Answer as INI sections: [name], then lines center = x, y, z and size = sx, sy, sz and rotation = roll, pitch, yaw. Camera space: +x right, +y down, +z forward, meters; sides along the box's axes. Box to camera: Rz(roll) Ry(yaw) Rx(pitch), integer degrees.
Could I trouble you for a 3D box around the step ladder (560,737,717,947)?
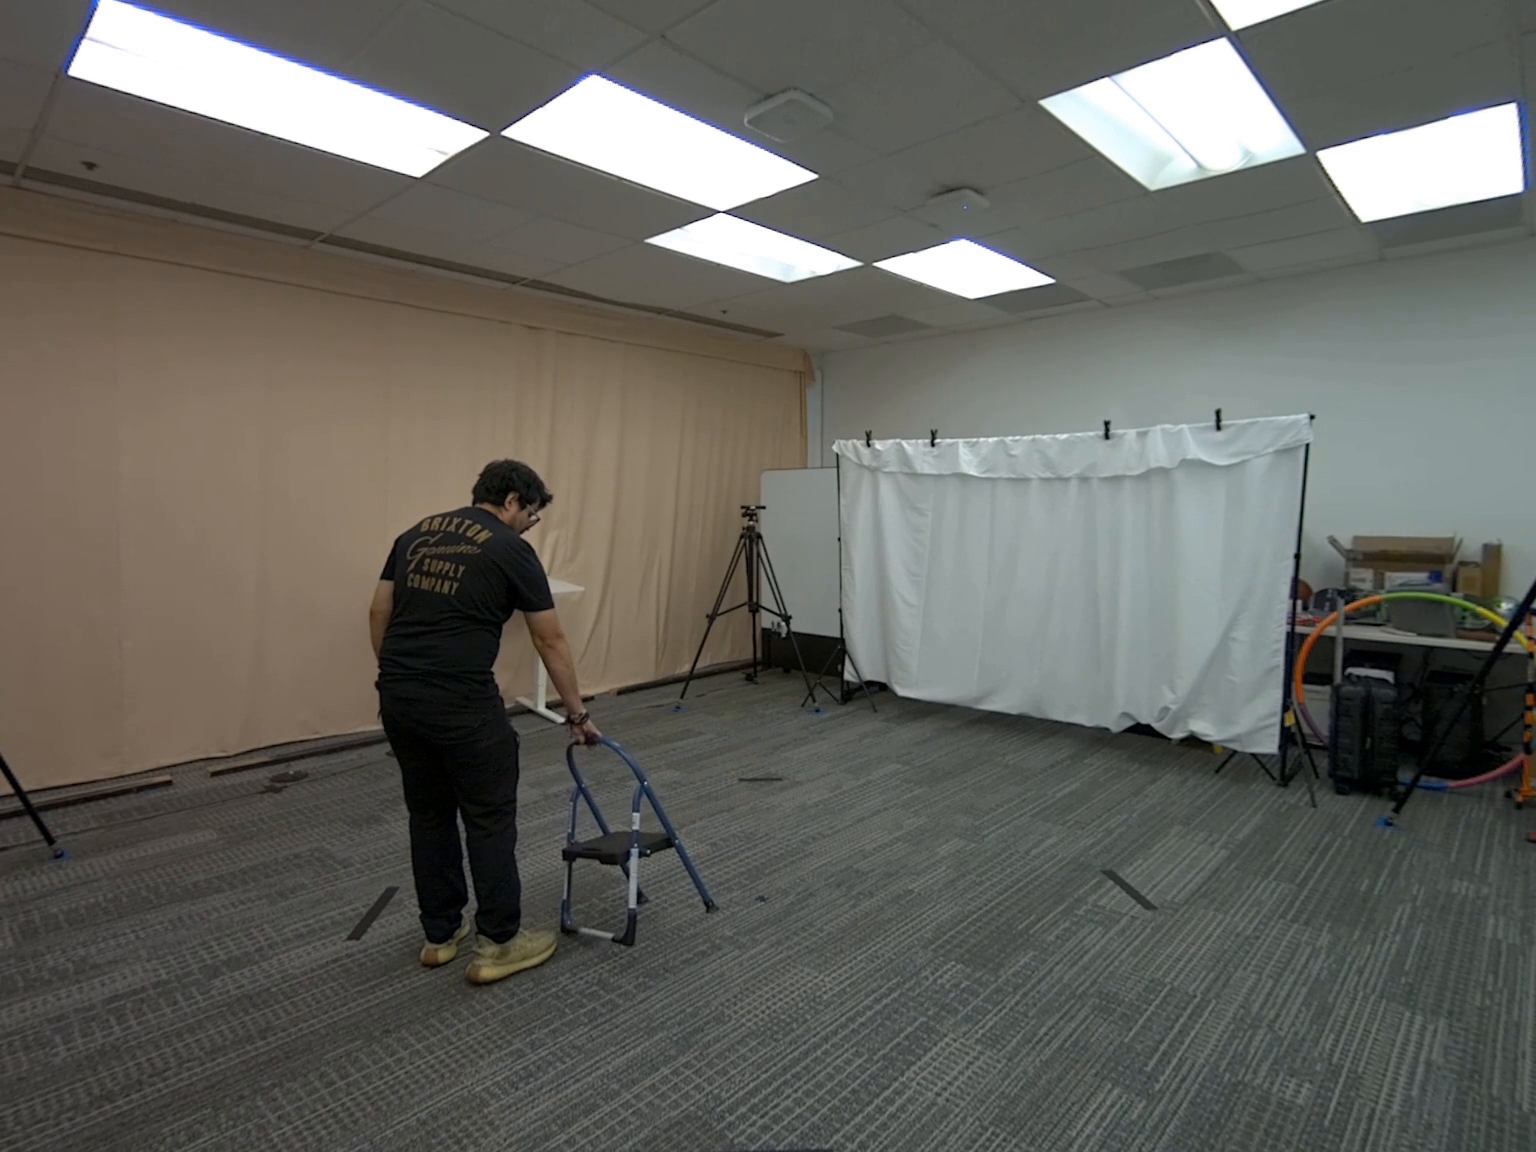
[step ladder]
center = -0.476, 0.824, 2.760
size = 0.338, 0.610, 0.441
rotation = -4, -11, -44
